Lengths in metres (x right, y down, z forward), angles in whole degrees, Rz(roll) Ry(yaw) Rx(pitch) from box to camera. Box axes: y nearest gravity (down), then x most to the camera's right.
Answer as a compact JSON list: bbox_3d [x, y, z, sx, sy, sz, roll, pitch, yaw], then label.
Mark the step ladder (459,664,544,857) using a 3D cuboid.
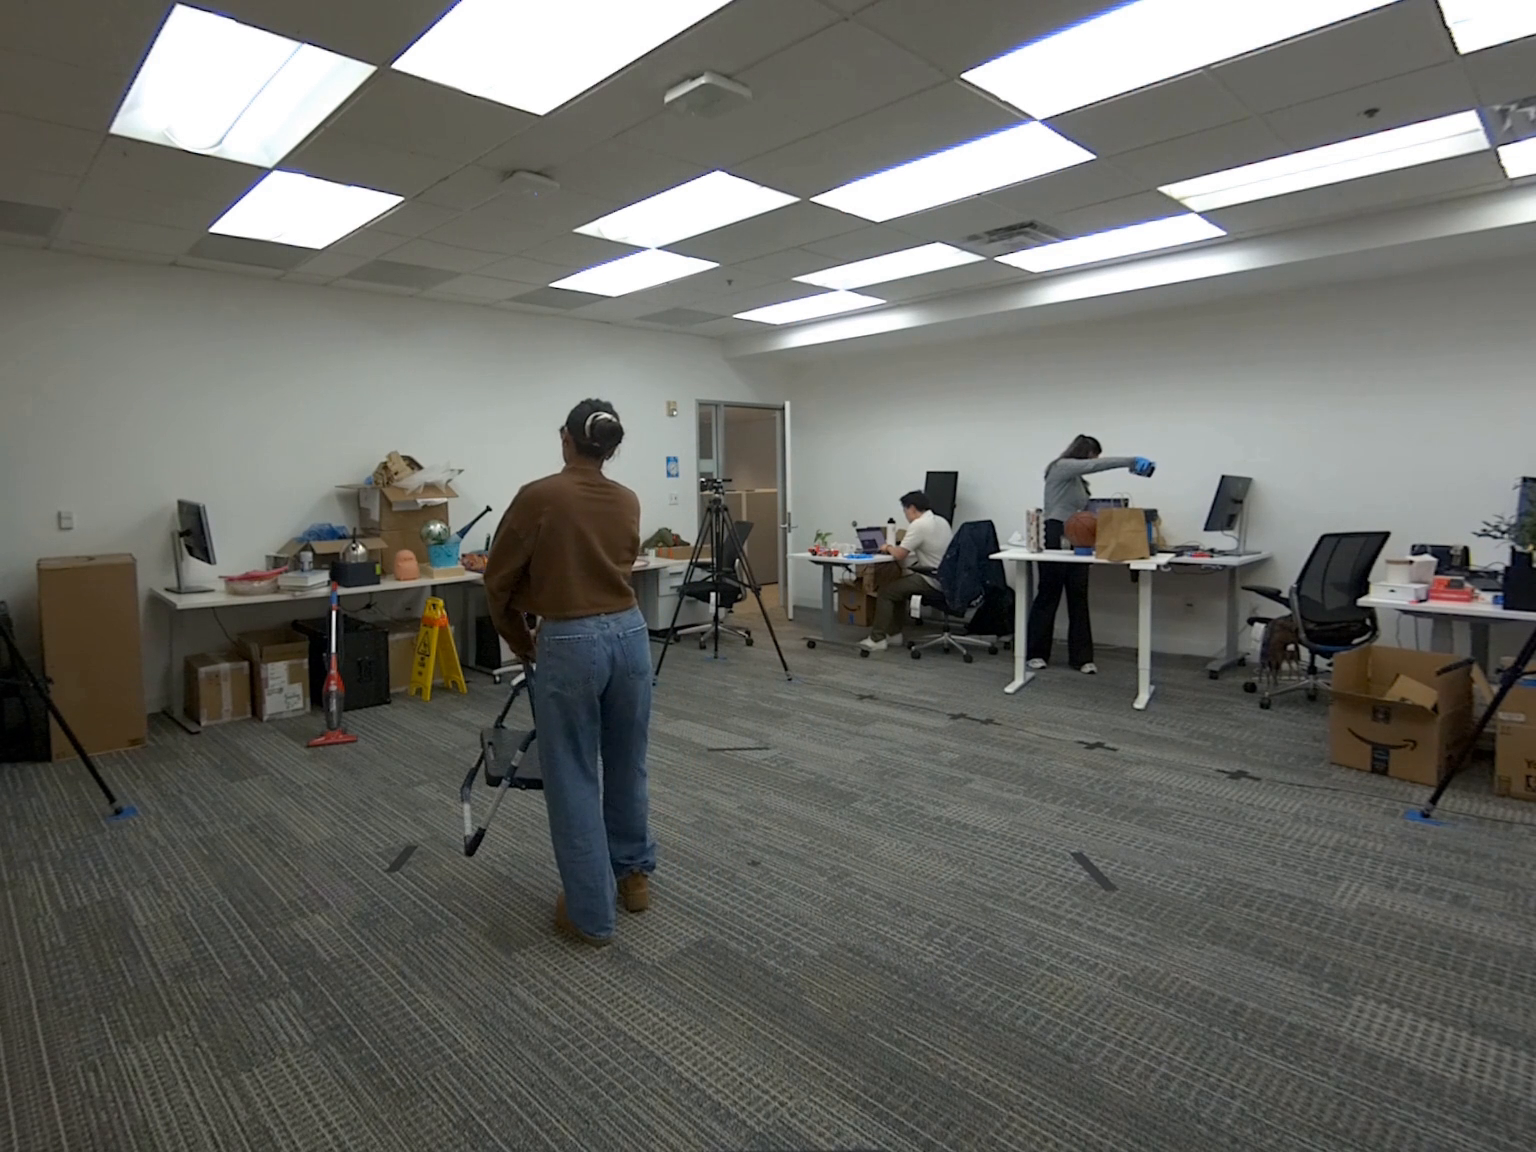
[{"bbox_3d":[-0.783,0.549,2.834,0.341,0.602,0.443,9,9,-24],"label":"step ladder"}]
